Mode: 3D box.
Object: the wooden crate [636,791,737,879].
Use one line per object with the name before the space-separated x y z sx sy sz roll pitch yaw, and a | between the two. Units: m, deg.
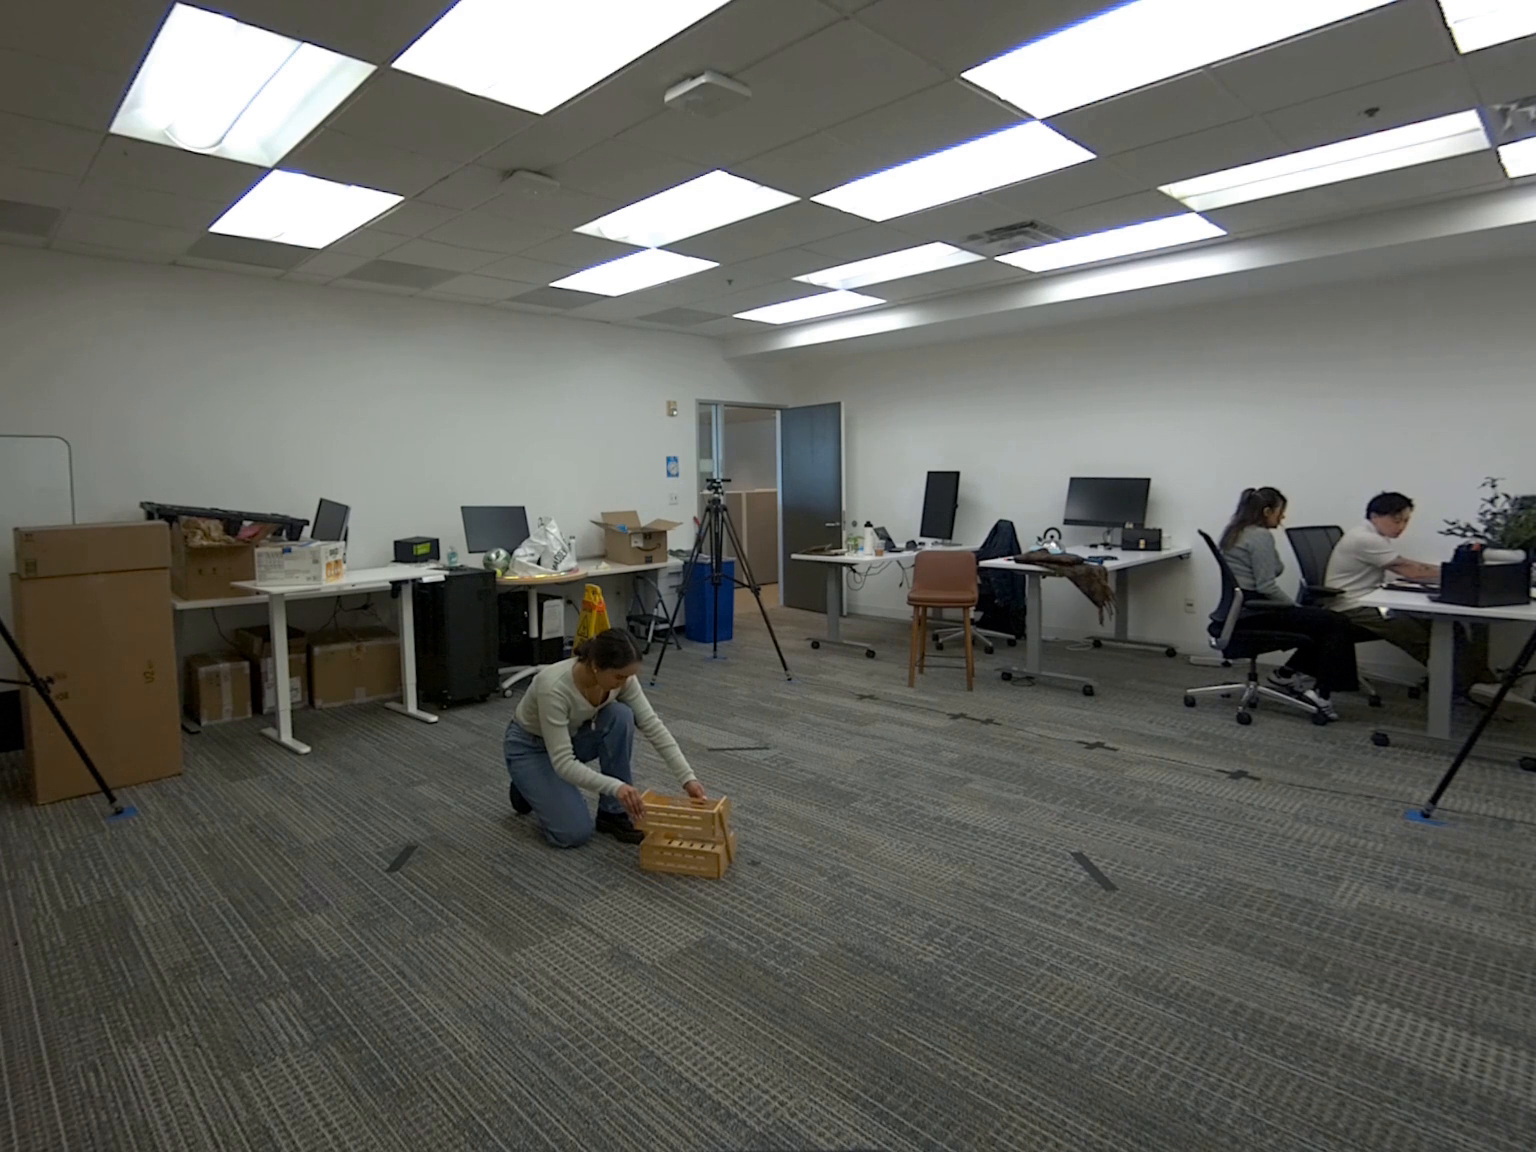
wooden crate | -0.293 0.911 3.121 0.329 0.272 0.299 0 5 15
